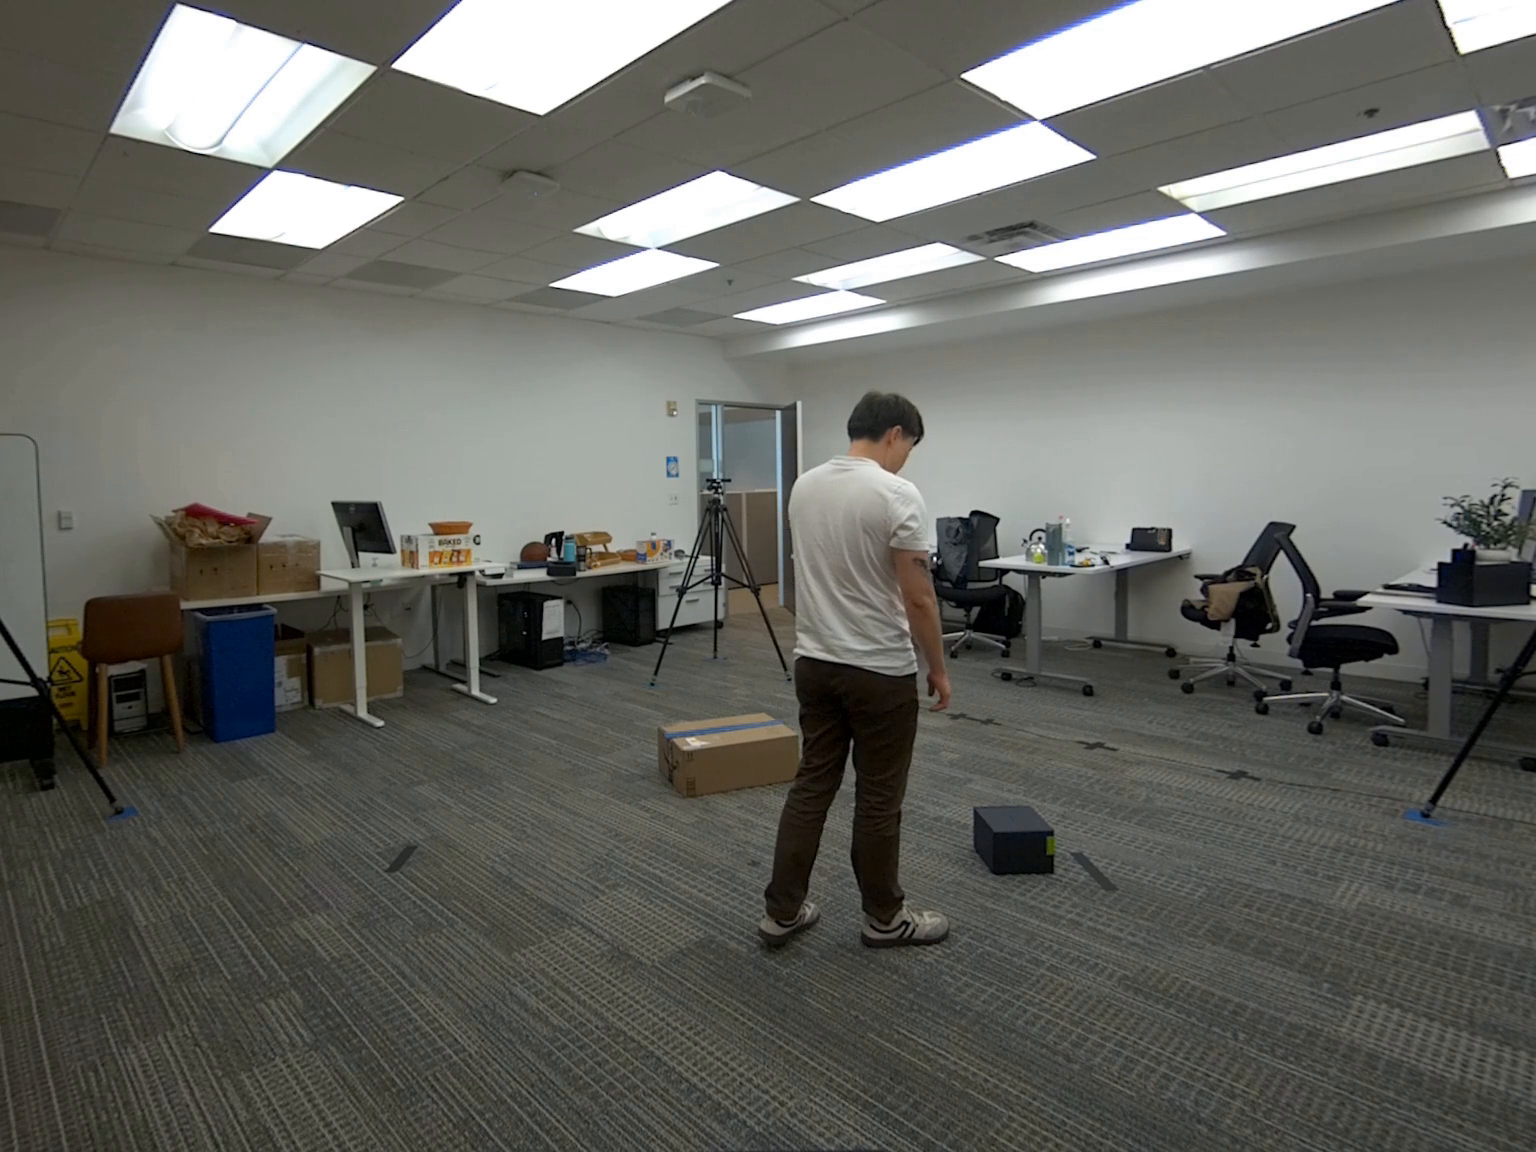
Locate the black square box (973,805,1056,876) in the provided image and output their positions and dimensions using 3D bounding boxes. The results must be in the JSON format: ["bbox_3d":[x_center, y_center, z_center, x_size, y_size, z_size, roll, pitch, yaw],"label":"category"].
[{"bbox_3d":[0.888,0.945,3.086,0.216,0.155,0.229,-1,5,-3],"label":"black square box"}]
